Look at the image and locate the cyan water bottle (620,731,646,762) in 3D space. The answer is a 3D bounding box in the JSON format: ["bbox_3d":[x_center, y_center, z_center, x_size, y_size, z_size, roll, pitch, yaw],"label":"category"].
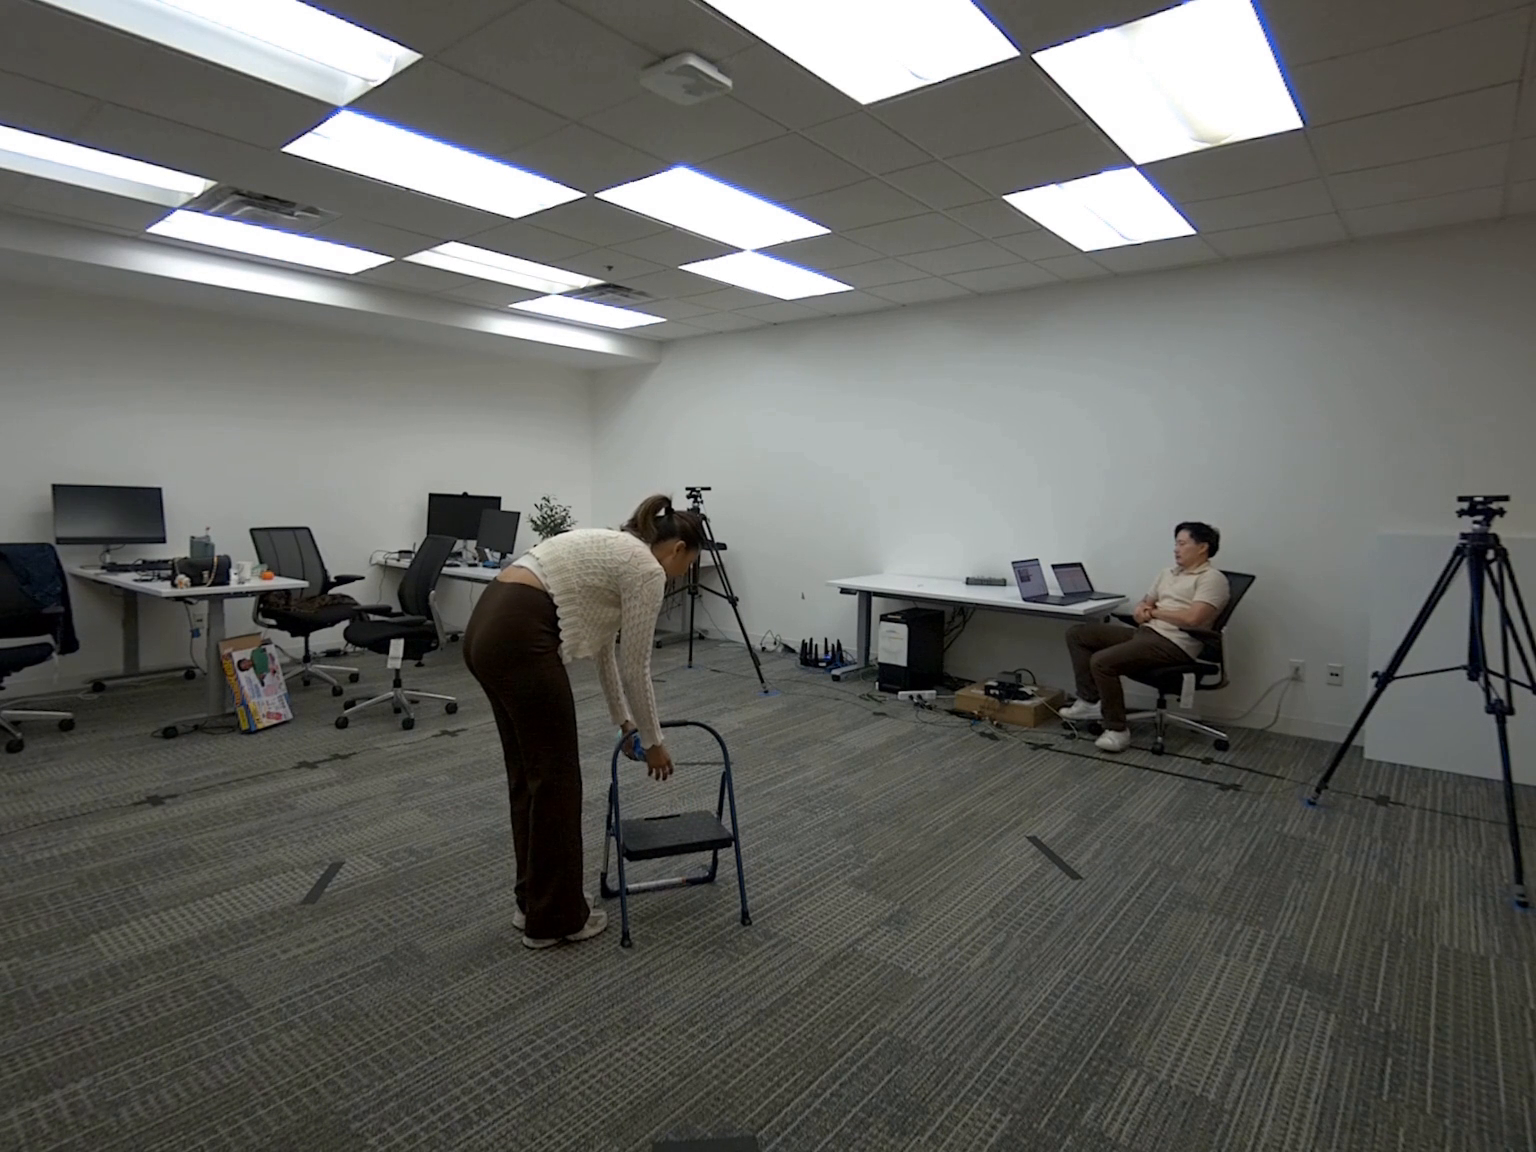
[{"bbox_3d":[-0.464,0.587,2.980,0.090,0.092,0.290,-1,2,-25],"label":"cyan water bottle"}]
